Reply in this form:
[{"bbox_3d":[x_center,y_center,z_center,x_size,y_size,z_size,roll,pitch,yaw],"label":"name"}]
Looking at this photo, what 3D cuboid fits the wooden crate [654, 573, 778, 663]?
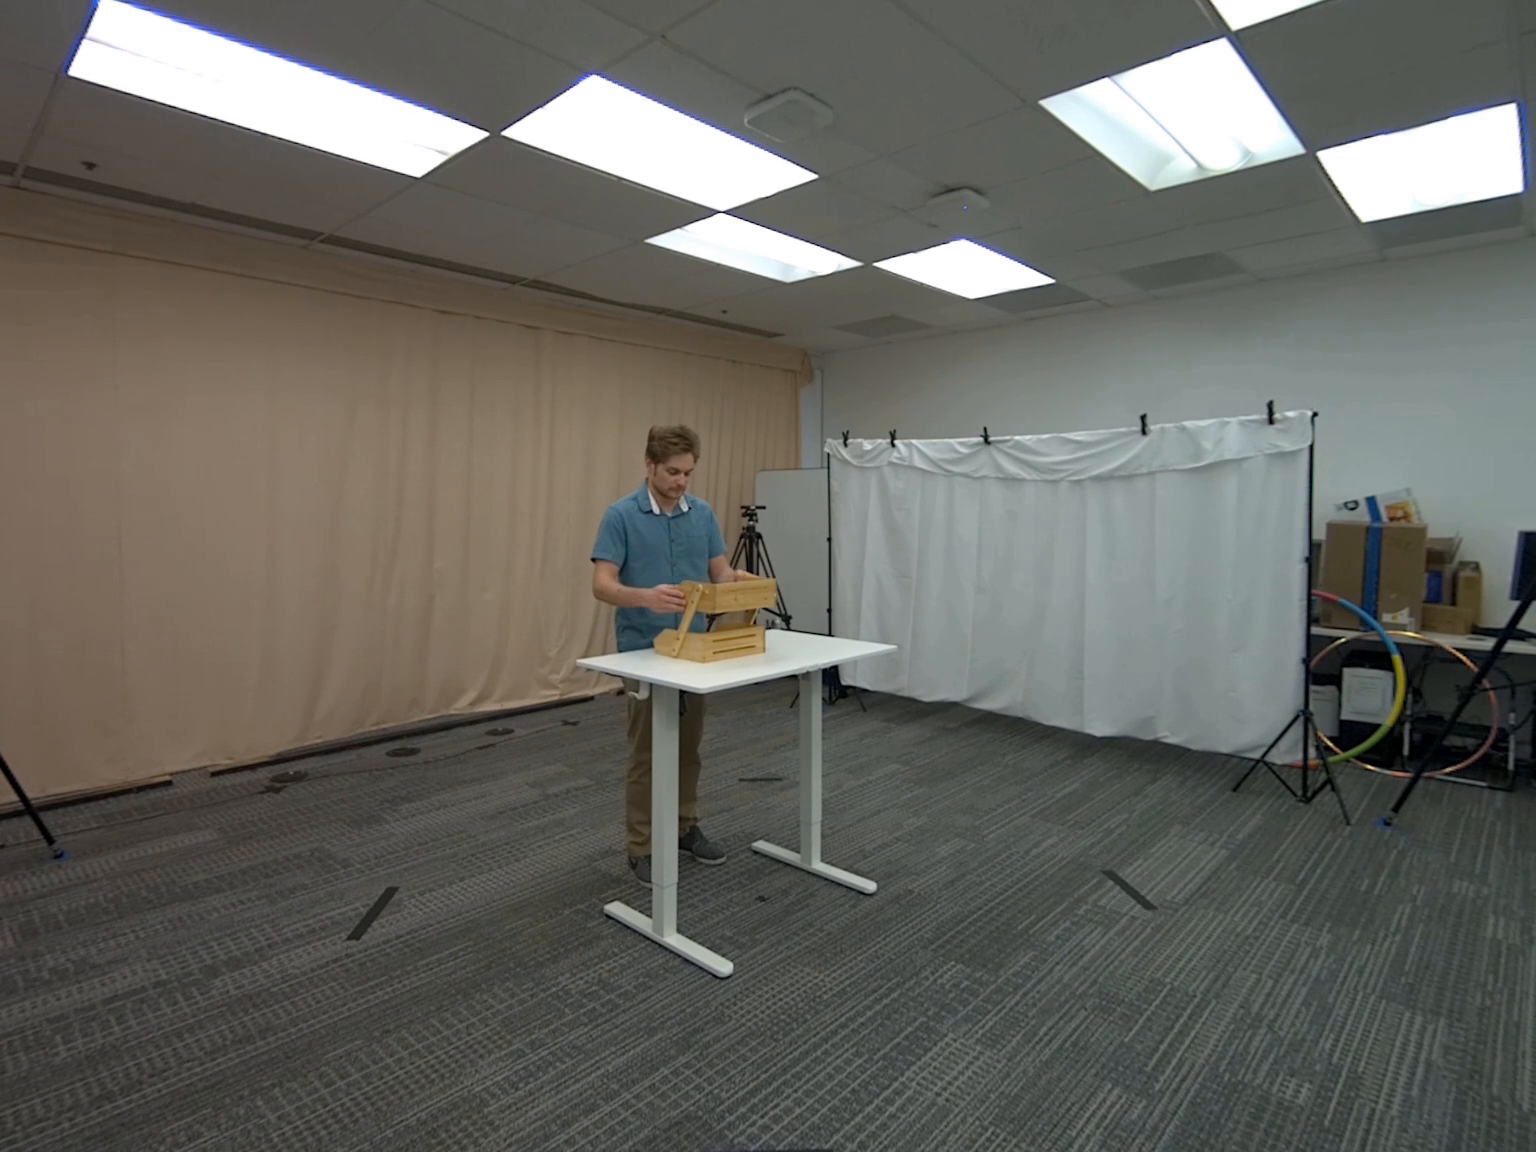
[{"bbox_3d":[-0.180,0.137,2.891,0.312,0.273,0.314,5,6,43],"label":"wooden crate"}]
